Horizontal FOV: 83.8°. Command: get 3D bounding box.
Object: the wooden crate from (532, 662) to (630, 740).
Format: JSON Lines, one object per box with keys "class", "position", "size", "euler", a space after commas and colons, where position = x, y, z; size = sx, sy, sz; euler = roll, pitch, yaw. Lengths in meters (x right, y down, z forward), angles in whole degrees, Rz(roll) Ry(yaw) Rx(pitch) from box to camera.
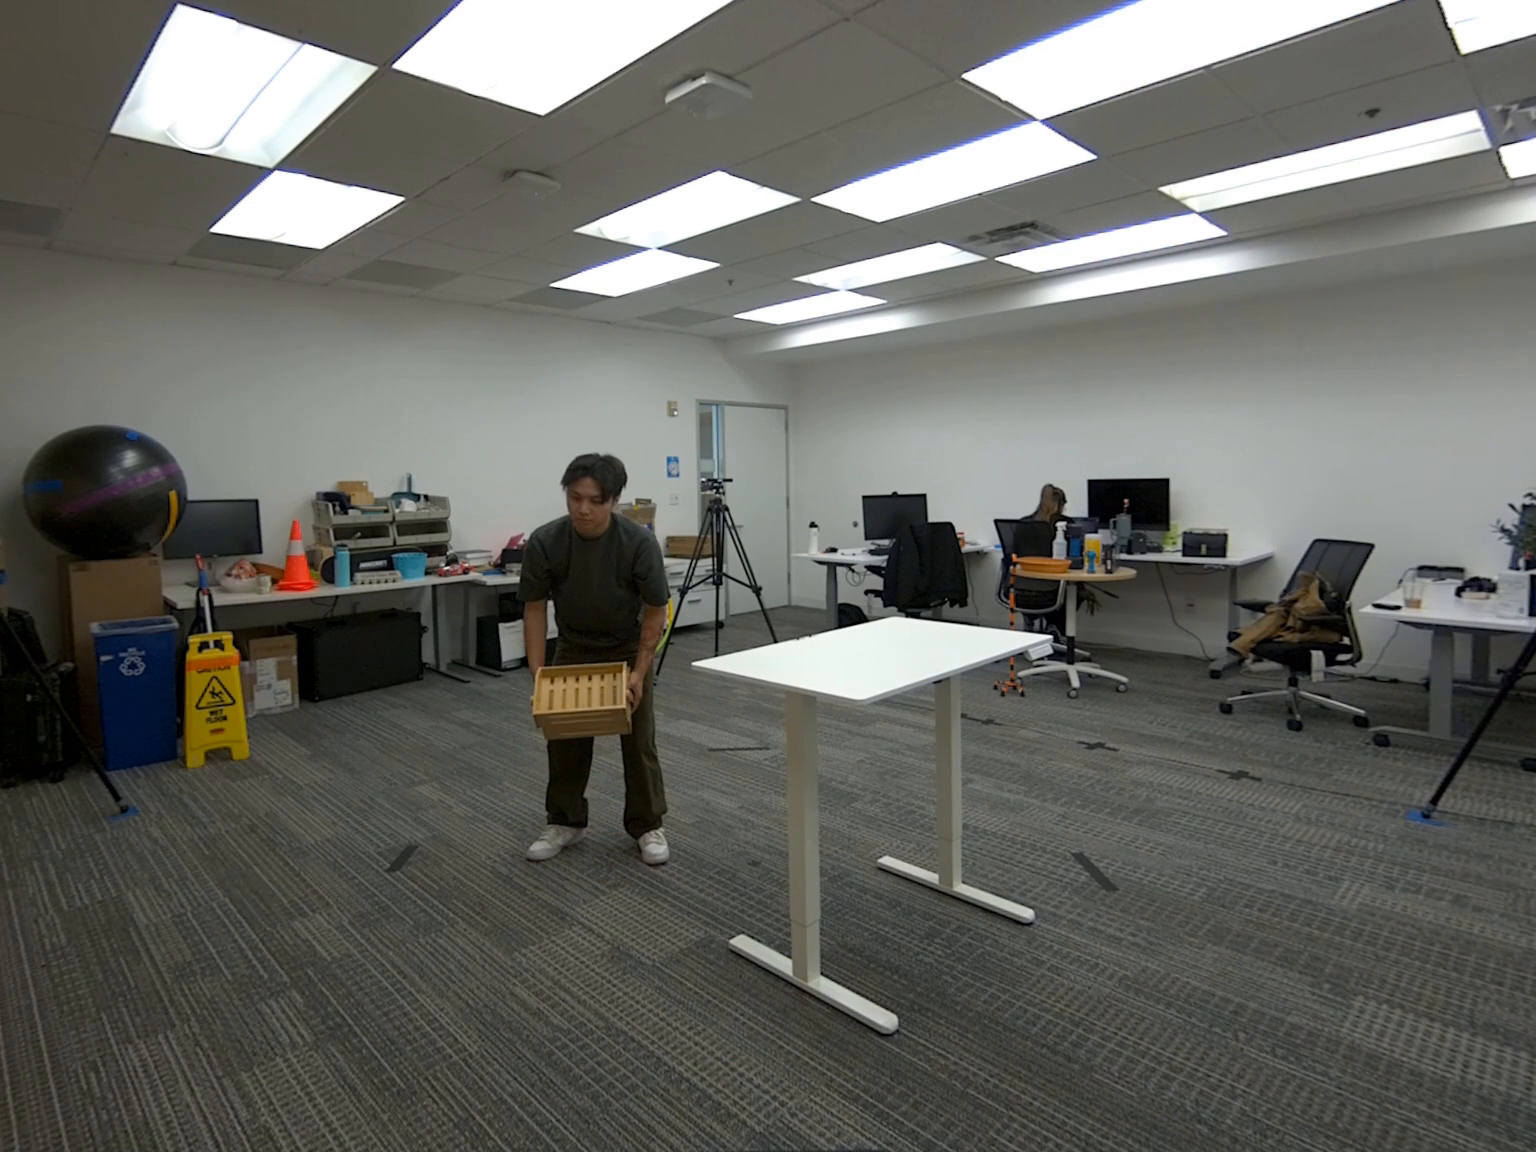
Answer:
{"class": "wooden crate", "position": [-0.641, 0.401, 2.963], "size": [0.324, 0.311, 0.266], "euler": [-4, -41, -3]}
